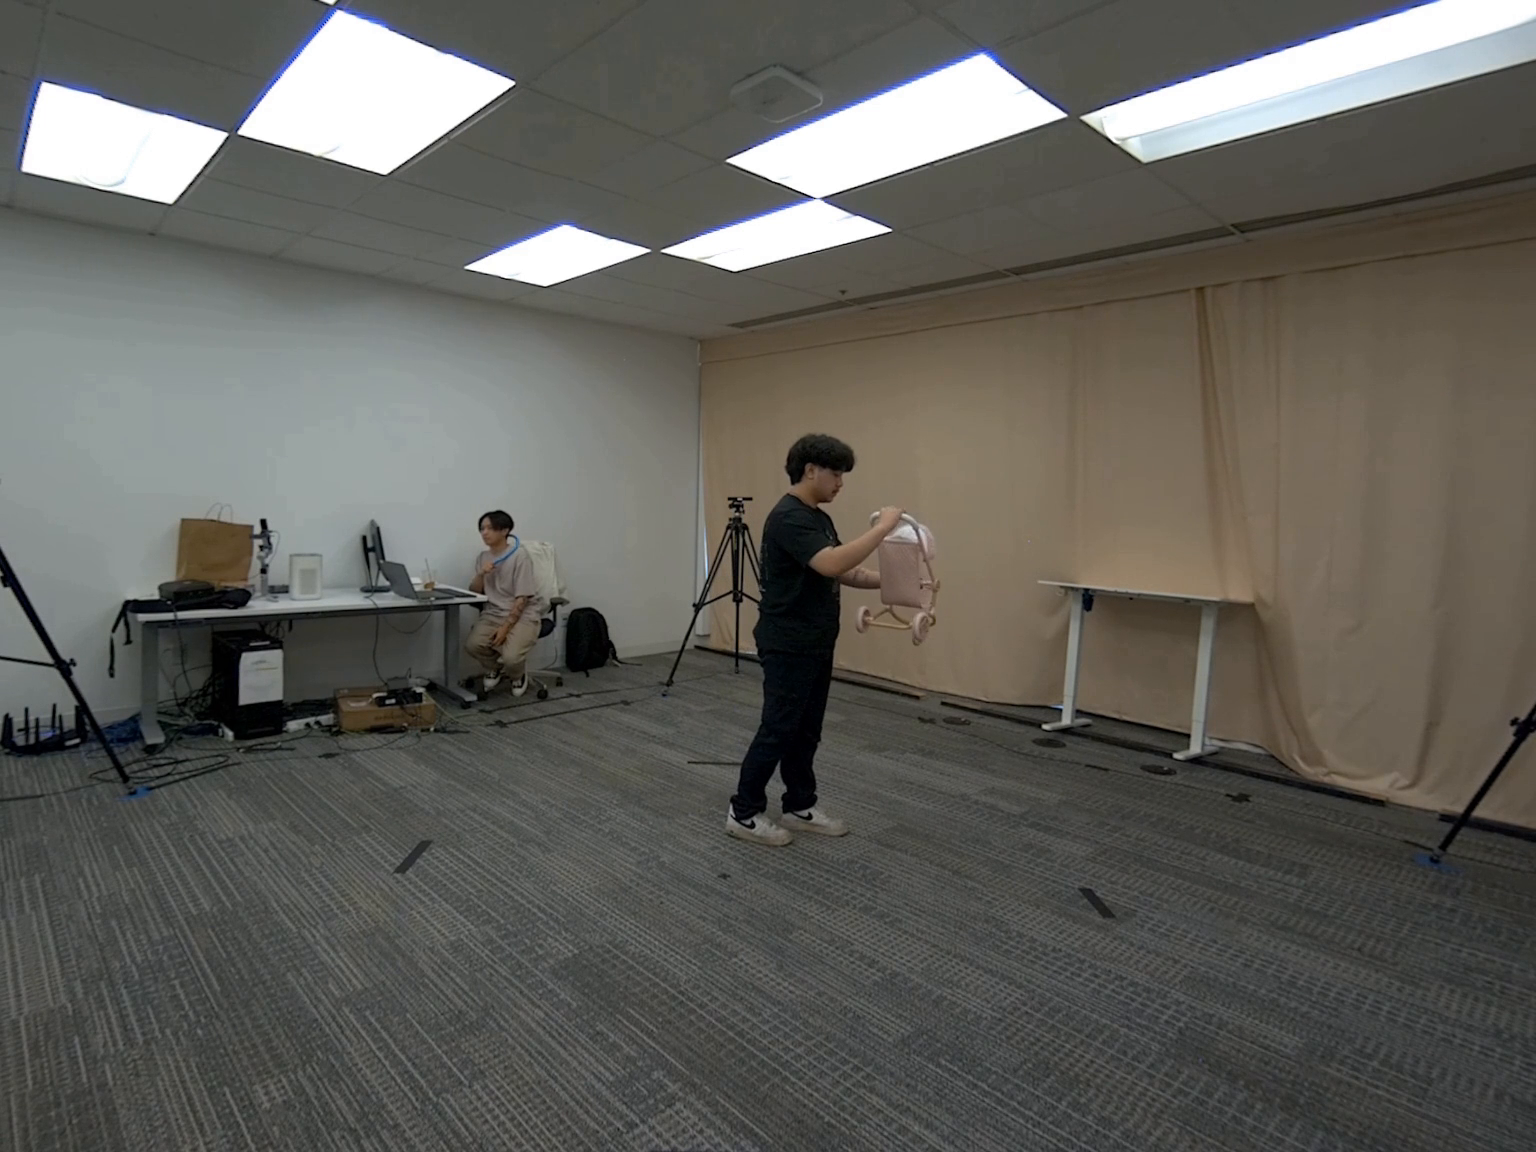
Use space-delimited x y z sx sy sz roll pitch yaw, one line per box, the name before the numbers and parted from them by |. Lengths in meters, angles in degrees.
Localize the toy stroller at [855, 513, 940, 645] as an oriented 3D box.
toy stroller | 0.545 0.023 3.365 0.288 0.535 0.333 4 1 40
